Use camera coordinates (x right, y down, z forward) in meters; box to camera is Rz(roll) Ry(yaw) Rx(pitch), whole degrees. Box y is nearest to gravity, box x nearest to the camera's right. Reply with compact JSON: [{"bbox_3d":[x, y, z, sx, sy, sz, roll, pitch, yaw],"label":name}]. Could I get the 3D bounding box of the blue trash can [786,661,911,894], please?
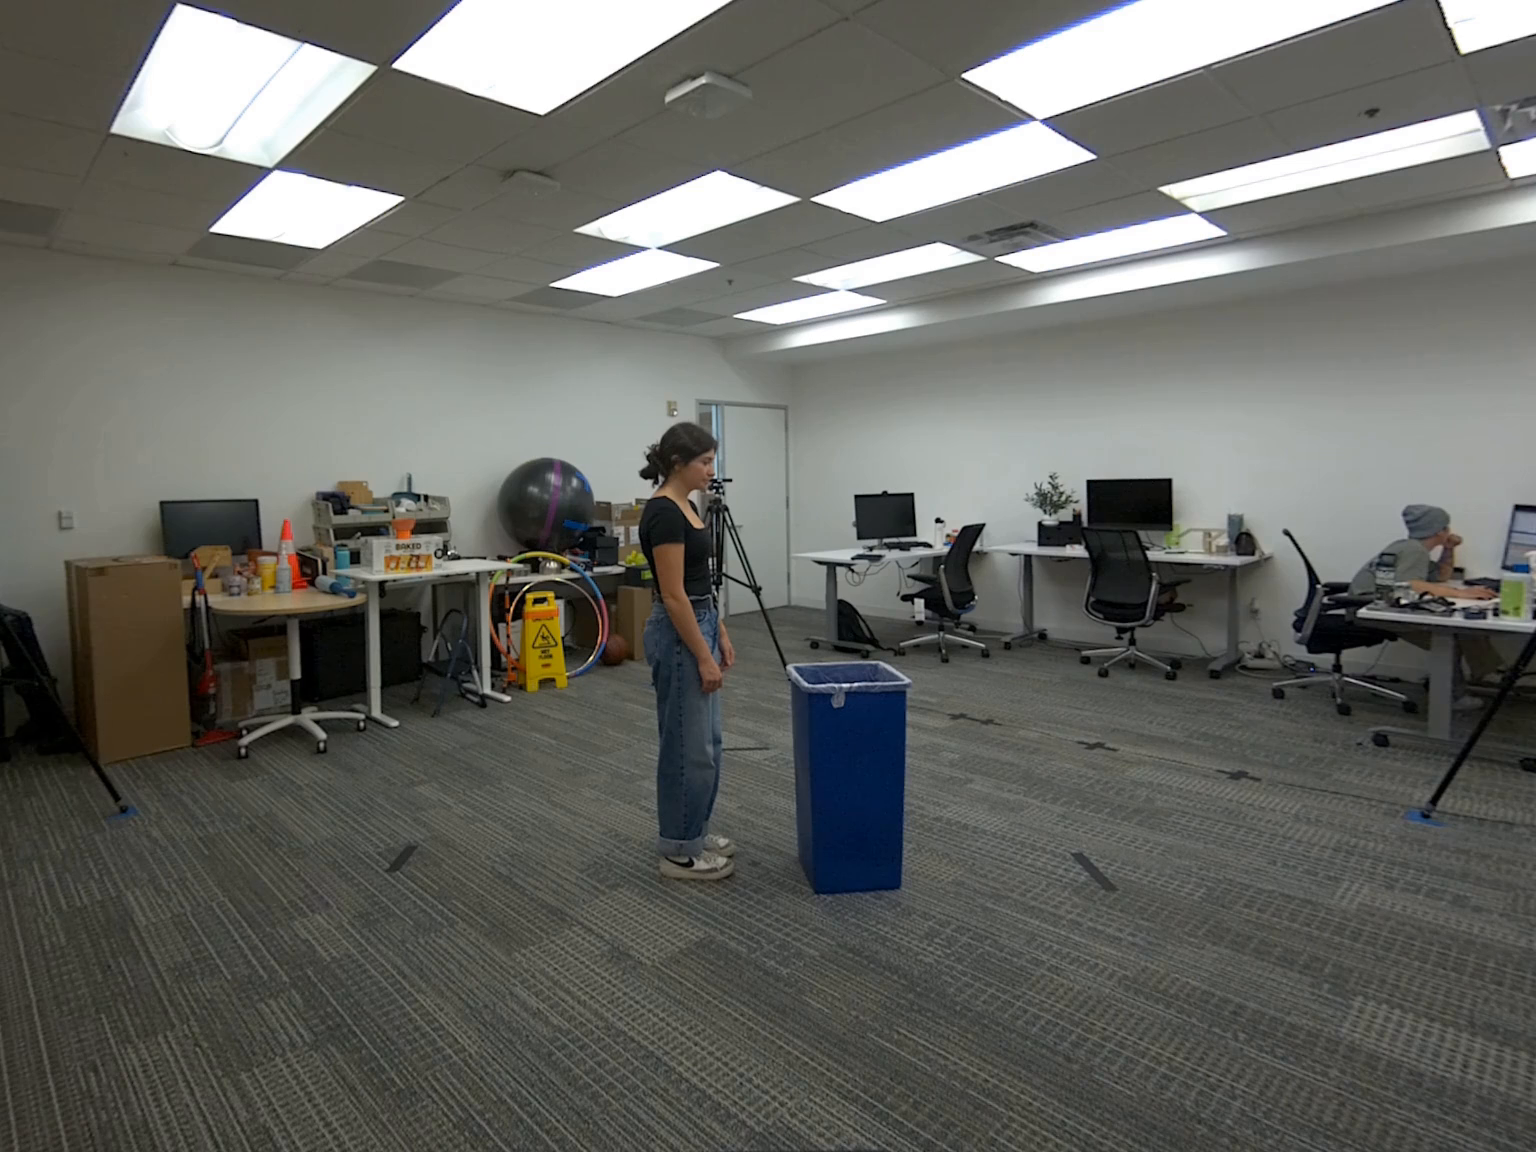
[{"bbox_3d":[0.274,0.692,3.005,0.375,0.711,0.378,-1,5,-8],"label":"blue trash can"}]
